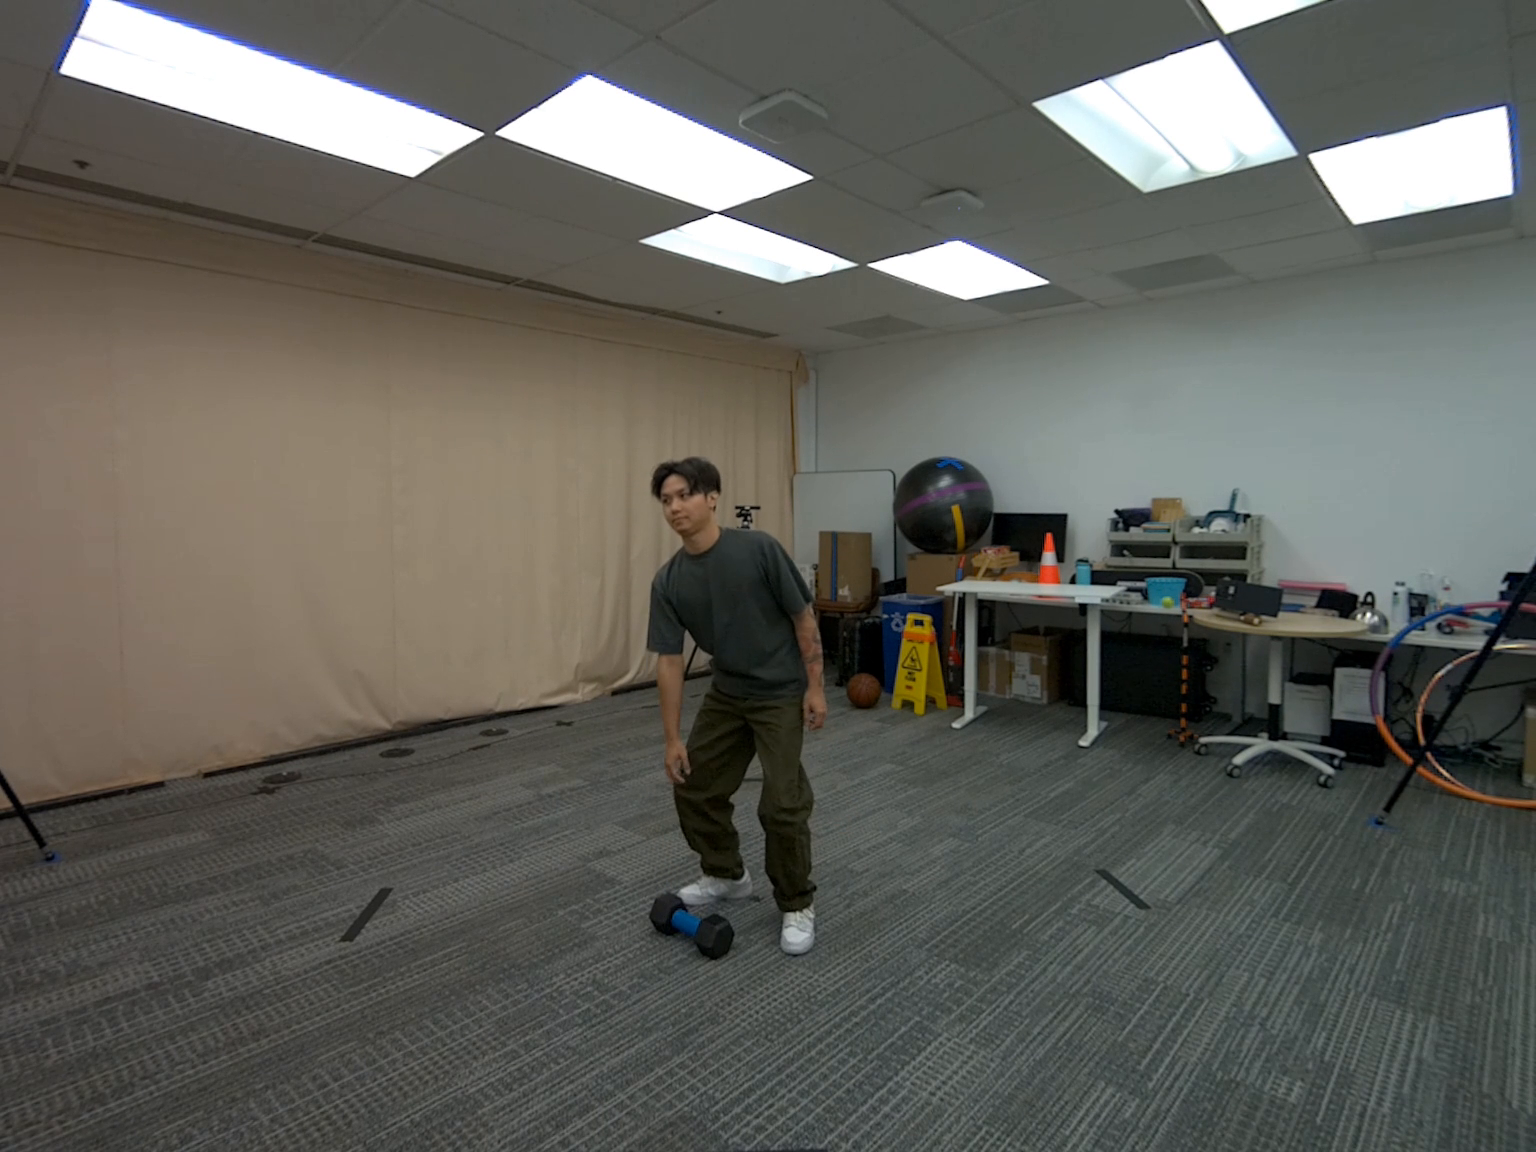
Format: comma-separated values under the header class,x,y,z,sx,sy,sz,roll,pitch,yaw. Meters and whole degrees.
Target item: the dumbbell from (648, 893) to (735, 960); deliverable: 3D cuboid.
class,x,y,z,sx,sy,sz,roll,pitch,yaw
dumbbell,-0.246,1.118,2.692,0.303,0.120,0.107,5,37,44
